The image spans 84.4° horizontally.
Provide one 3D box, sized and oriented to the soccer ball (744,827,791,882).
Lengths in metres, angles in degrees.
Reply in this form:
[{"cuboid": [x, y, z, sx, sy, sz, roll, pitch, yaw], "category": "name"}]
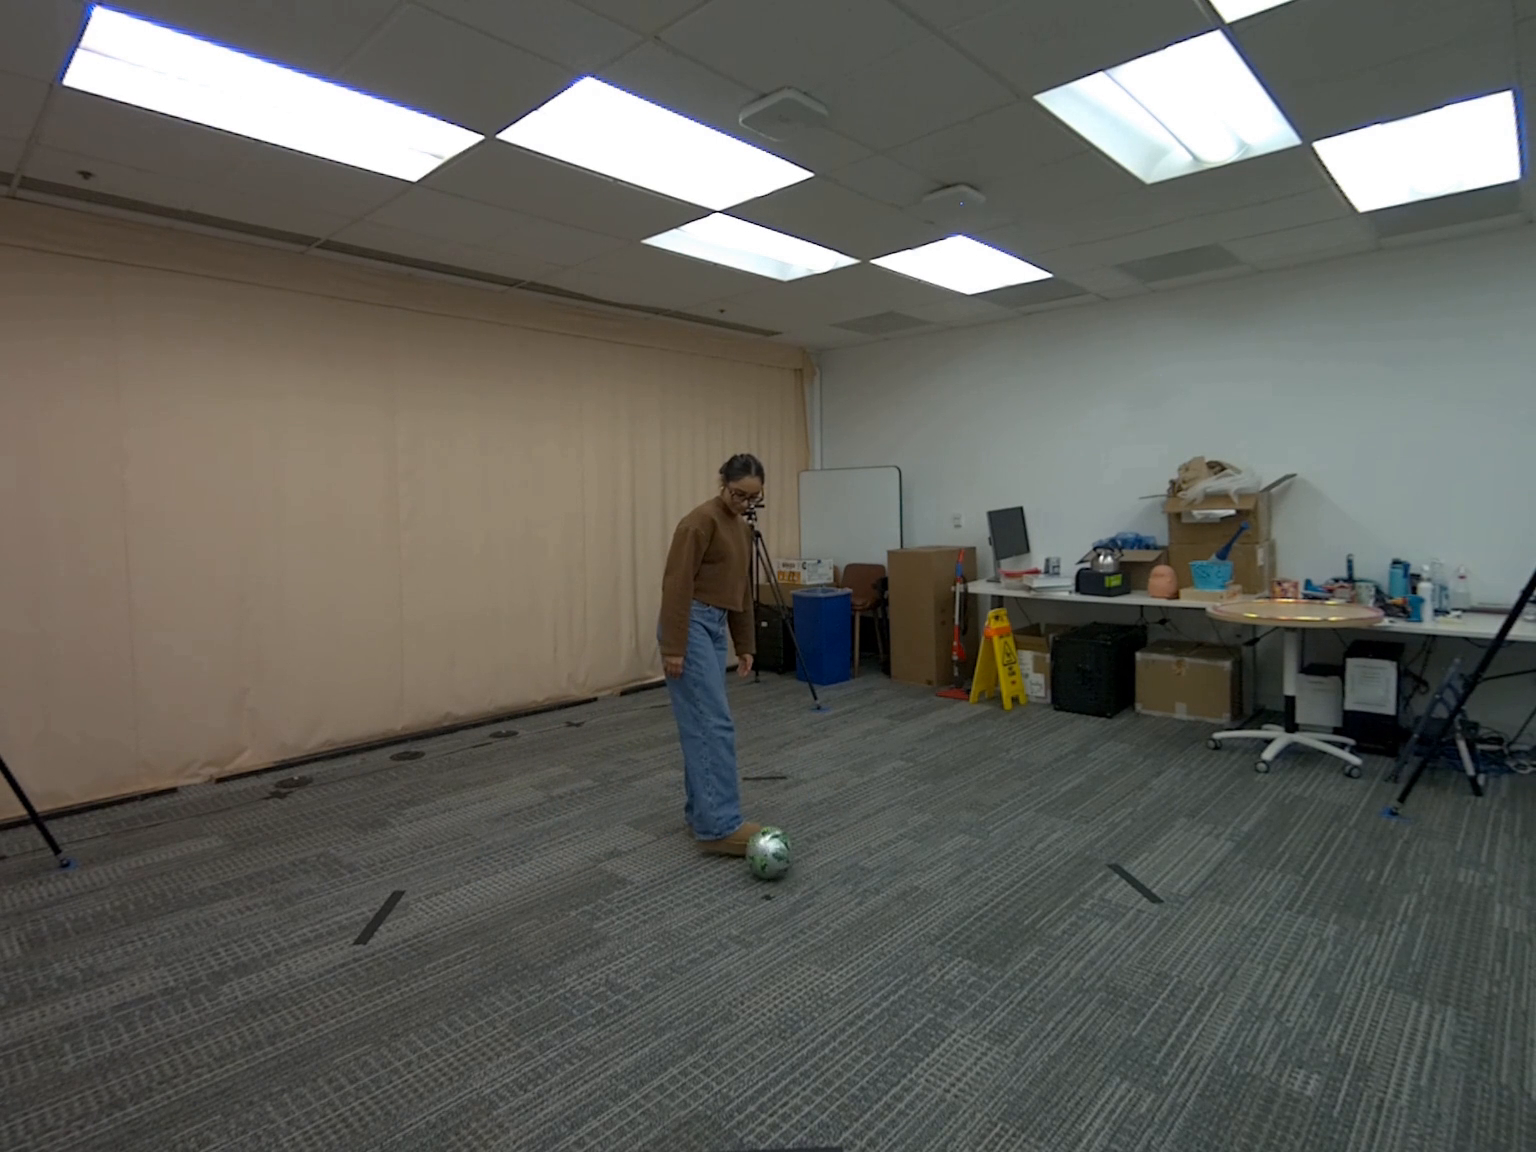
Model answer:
[{"cuboid": [0.011, 1.031, 3.137, 0.187, 0.187, 0.188, -1, 4, -2], "category": "soccer ball"}]
